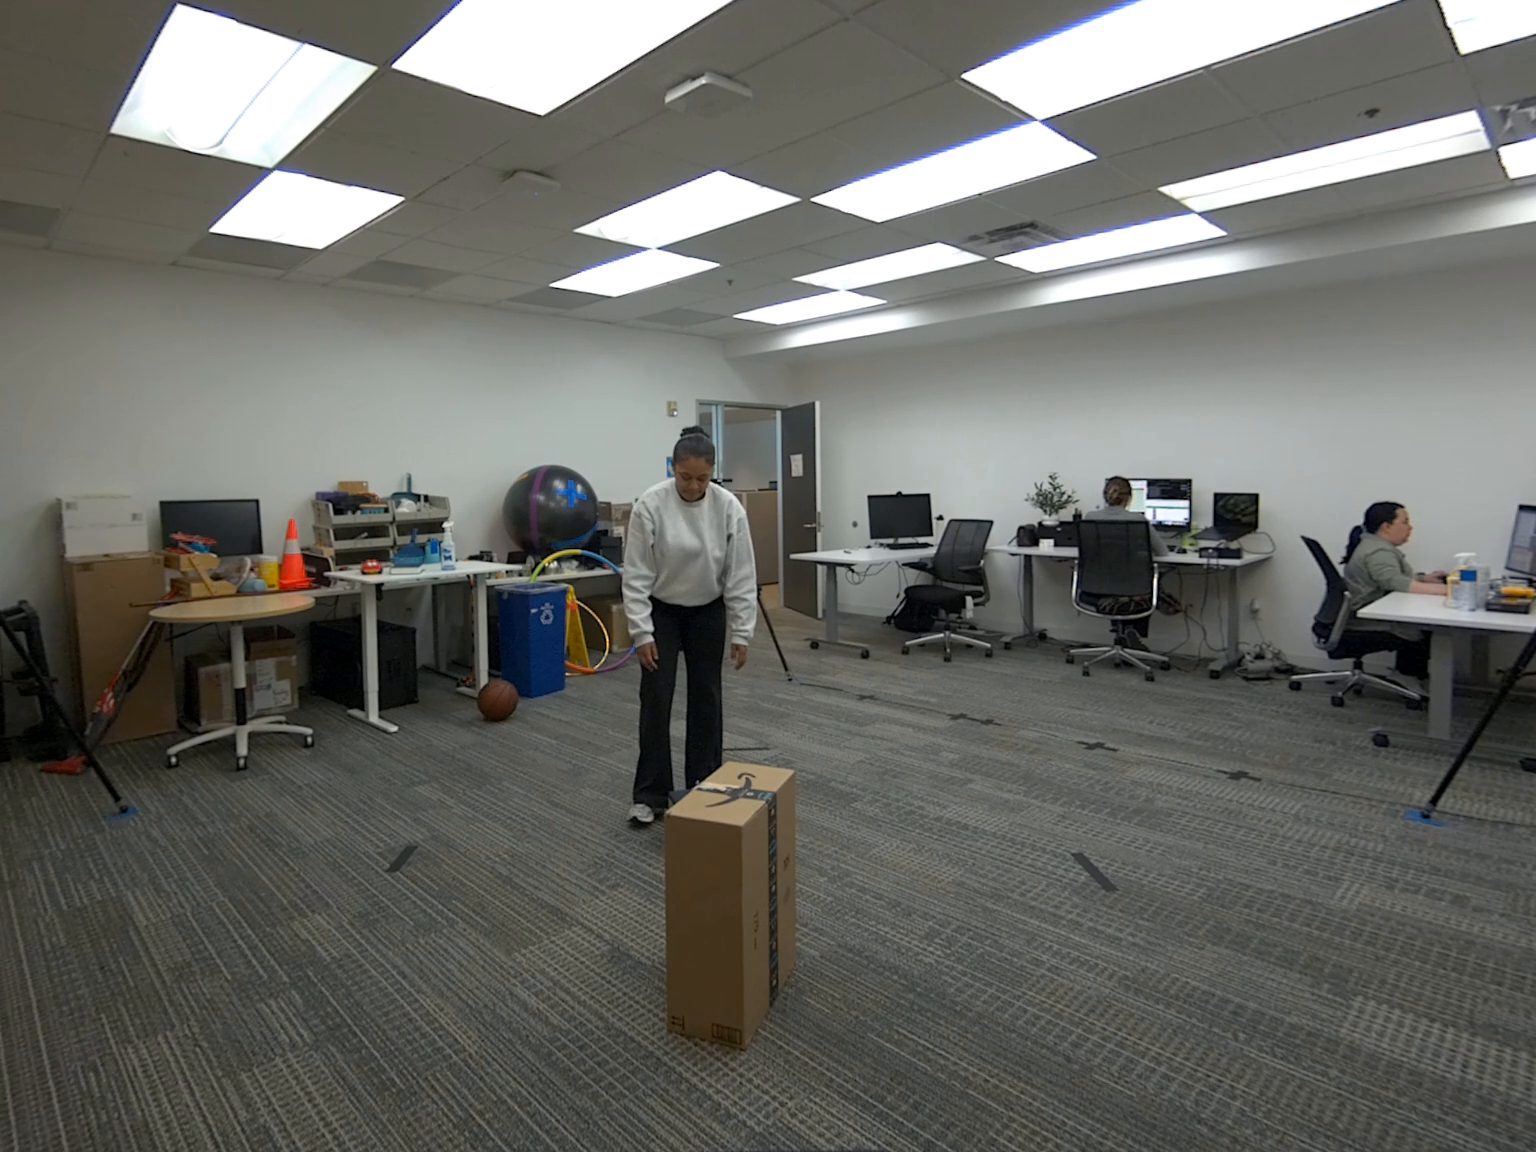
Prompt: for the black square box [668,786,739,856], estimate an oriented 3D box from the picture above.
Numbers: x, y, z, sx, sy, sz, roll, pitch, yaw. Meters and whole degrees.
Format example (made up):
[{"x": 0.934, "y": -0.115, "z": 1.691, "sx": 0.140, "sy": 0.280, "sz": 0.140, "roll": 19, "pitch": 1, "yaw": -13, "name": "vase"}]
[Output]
[{"x": -0.255, "y": 0.945, "z": 3.333, "sx": 0.213, "sy": 0.155, "sz": 0.232, "roll": -3, "pitch": 6, "yaw": -18, "name": "black square box"}]
